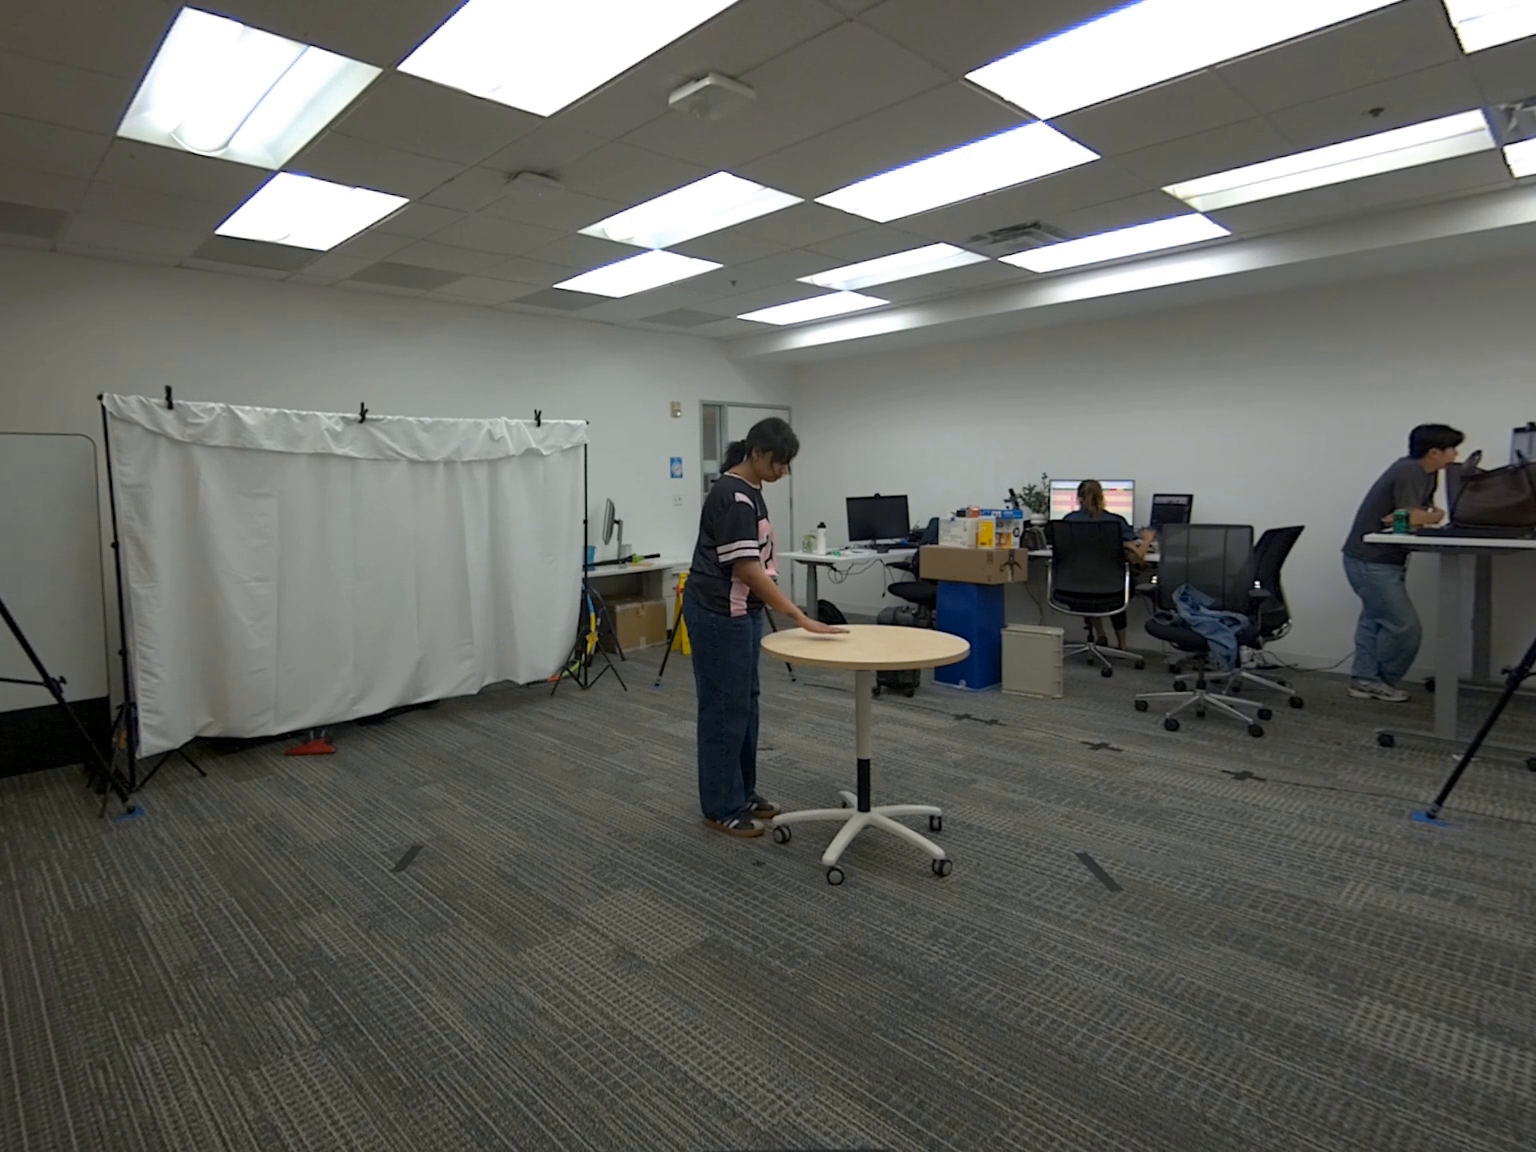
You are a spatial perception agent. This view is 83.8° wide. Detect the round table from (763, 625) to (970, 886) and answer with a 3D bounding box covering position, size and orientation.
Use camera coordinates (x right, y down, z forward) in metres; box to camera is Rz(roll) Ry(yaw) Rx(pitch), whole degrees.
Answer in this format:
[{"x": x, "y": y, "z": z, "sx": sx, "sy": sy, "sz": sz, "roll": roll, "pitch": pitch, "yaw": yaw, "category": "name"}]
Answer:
[{"x": 0.368, "y": 0.634, "z": 3.223, "sx": 0.784, "sy": 0.783, "sz": 0.789, "roll": -1, "pitch": 5, "yaw": -2, "category": "round table"}]
